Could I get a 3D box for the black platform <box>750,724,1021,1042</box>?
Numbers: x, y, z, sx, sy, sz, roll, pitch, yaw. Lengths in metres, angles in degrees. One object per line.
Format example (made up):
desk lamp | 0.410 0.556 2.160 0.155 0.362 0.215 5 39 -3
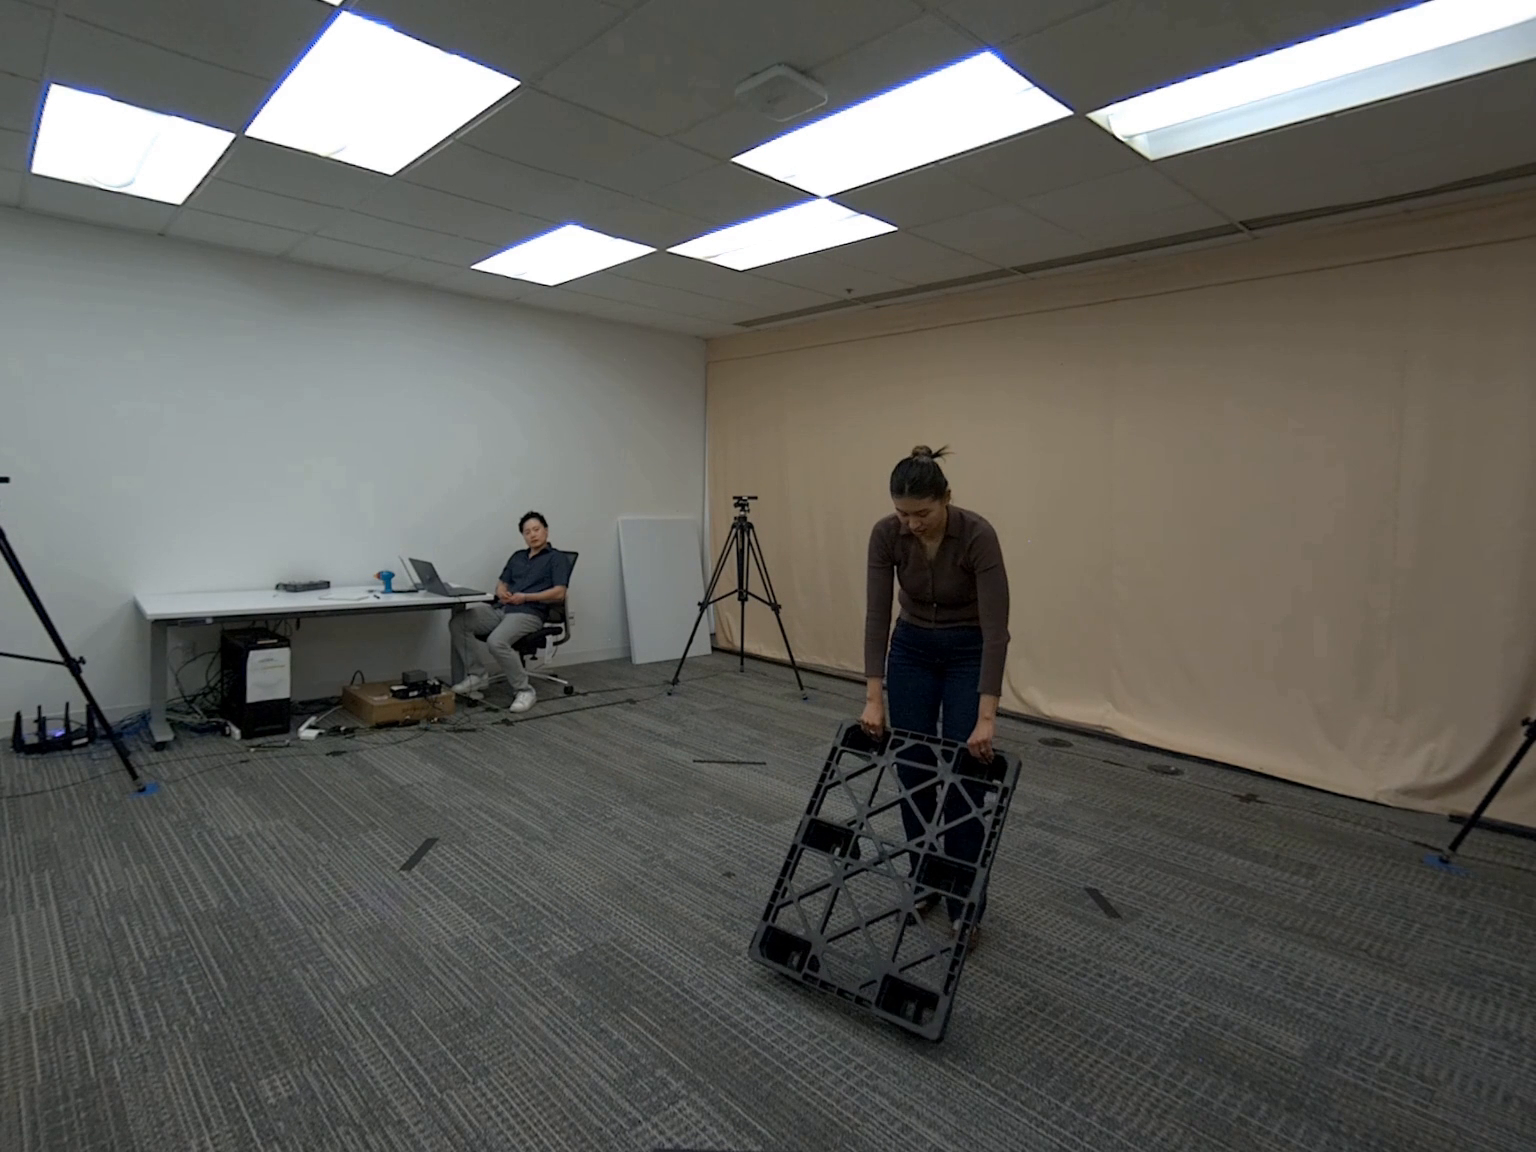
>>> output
black platform | 0.367 0.851 2.484 0.620 0.811 0.139 5 -34 36
